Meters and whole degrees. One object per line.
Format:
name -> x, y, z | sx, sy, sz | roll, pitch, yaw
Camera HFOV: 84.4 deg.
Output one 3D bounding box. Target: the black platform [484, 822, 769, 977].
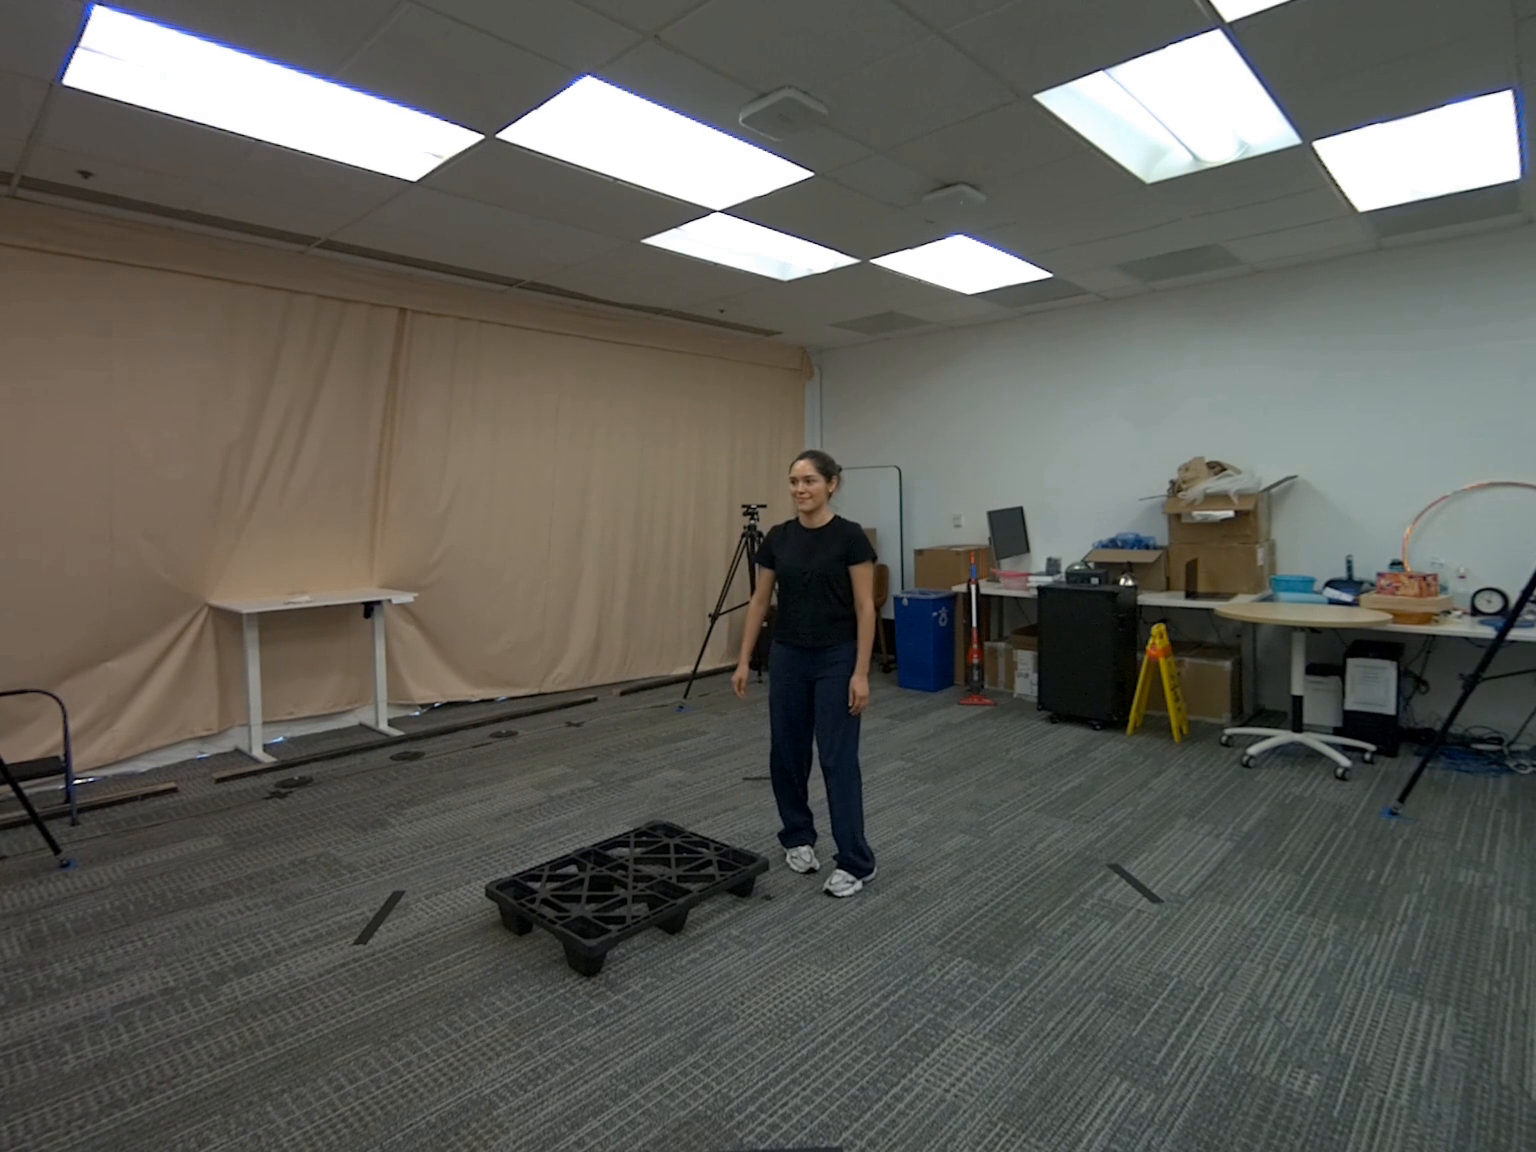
black platform -> -0.455, 1.091, 2.911 | 0.625, 0.143, 0.781 | 4, 7, 42
